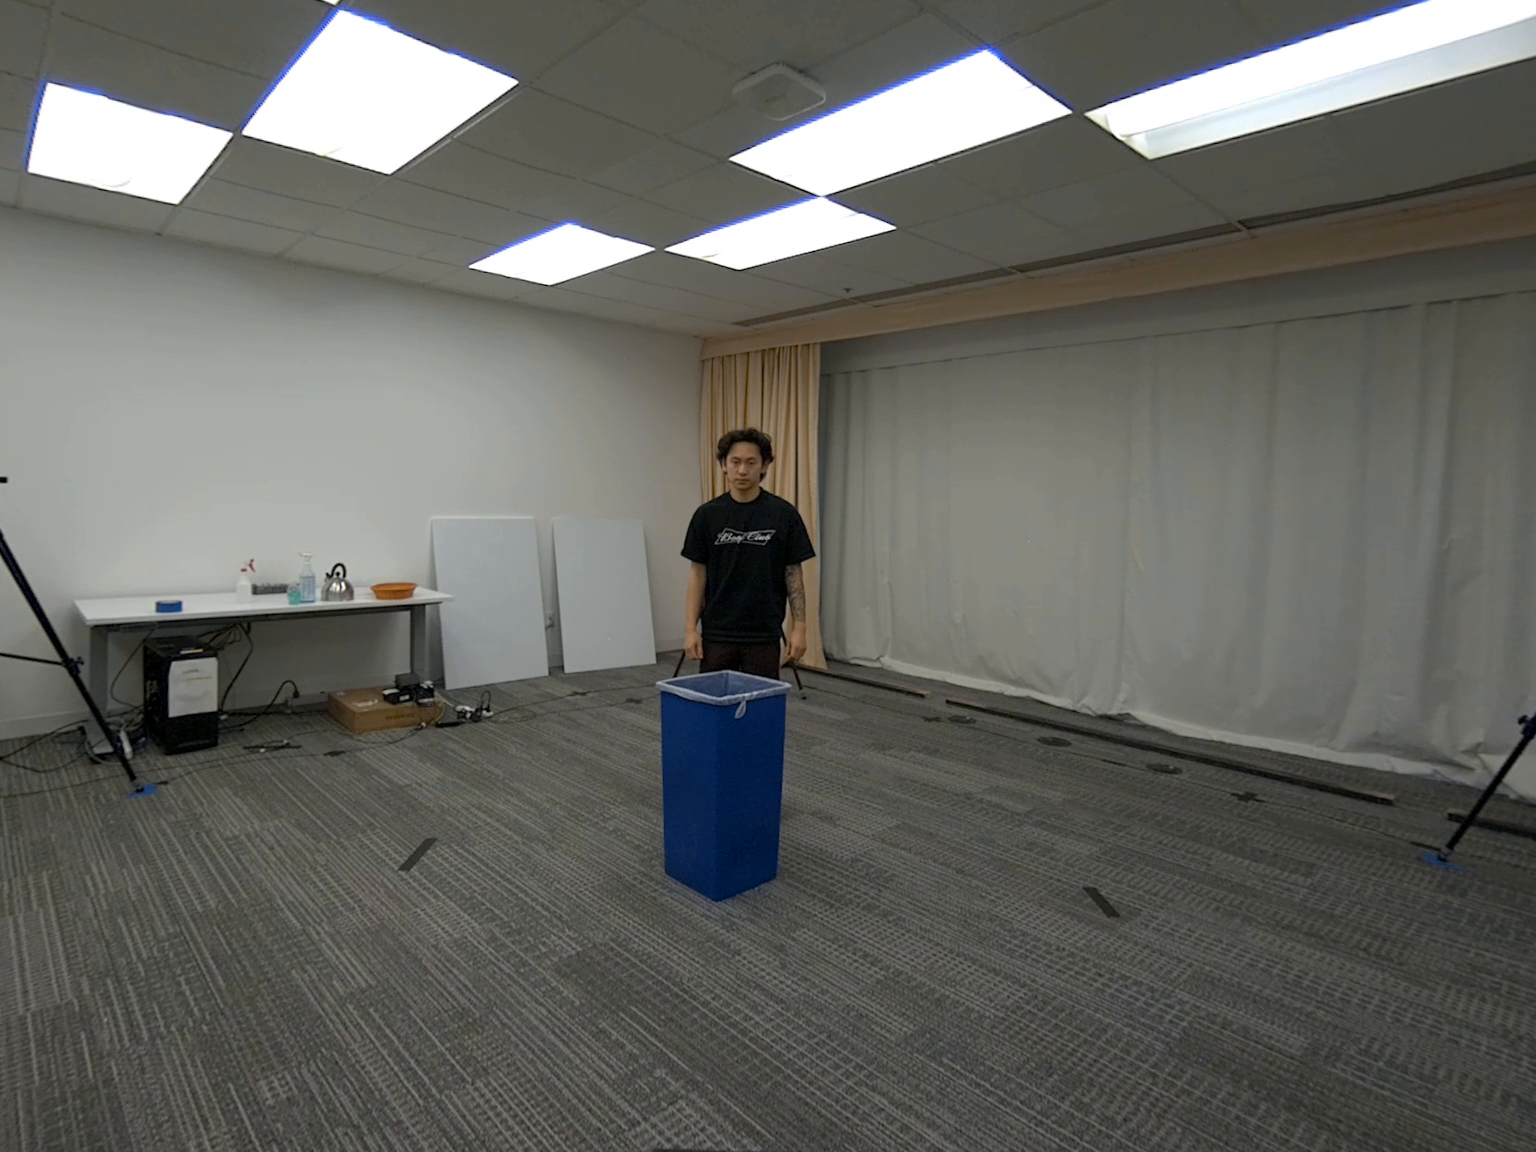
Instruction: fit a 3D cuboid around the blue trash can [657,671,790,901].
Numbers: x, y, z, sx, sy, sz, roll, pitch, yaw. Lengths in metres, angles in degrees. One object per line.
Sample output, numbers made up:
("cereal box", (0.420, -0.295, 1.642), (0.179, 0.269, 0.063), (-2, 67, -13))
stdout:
("blue trash can", (-0.181, 0.745, 3.077), (0.369, 0.712, 0.383), (-2, 4, -44))
